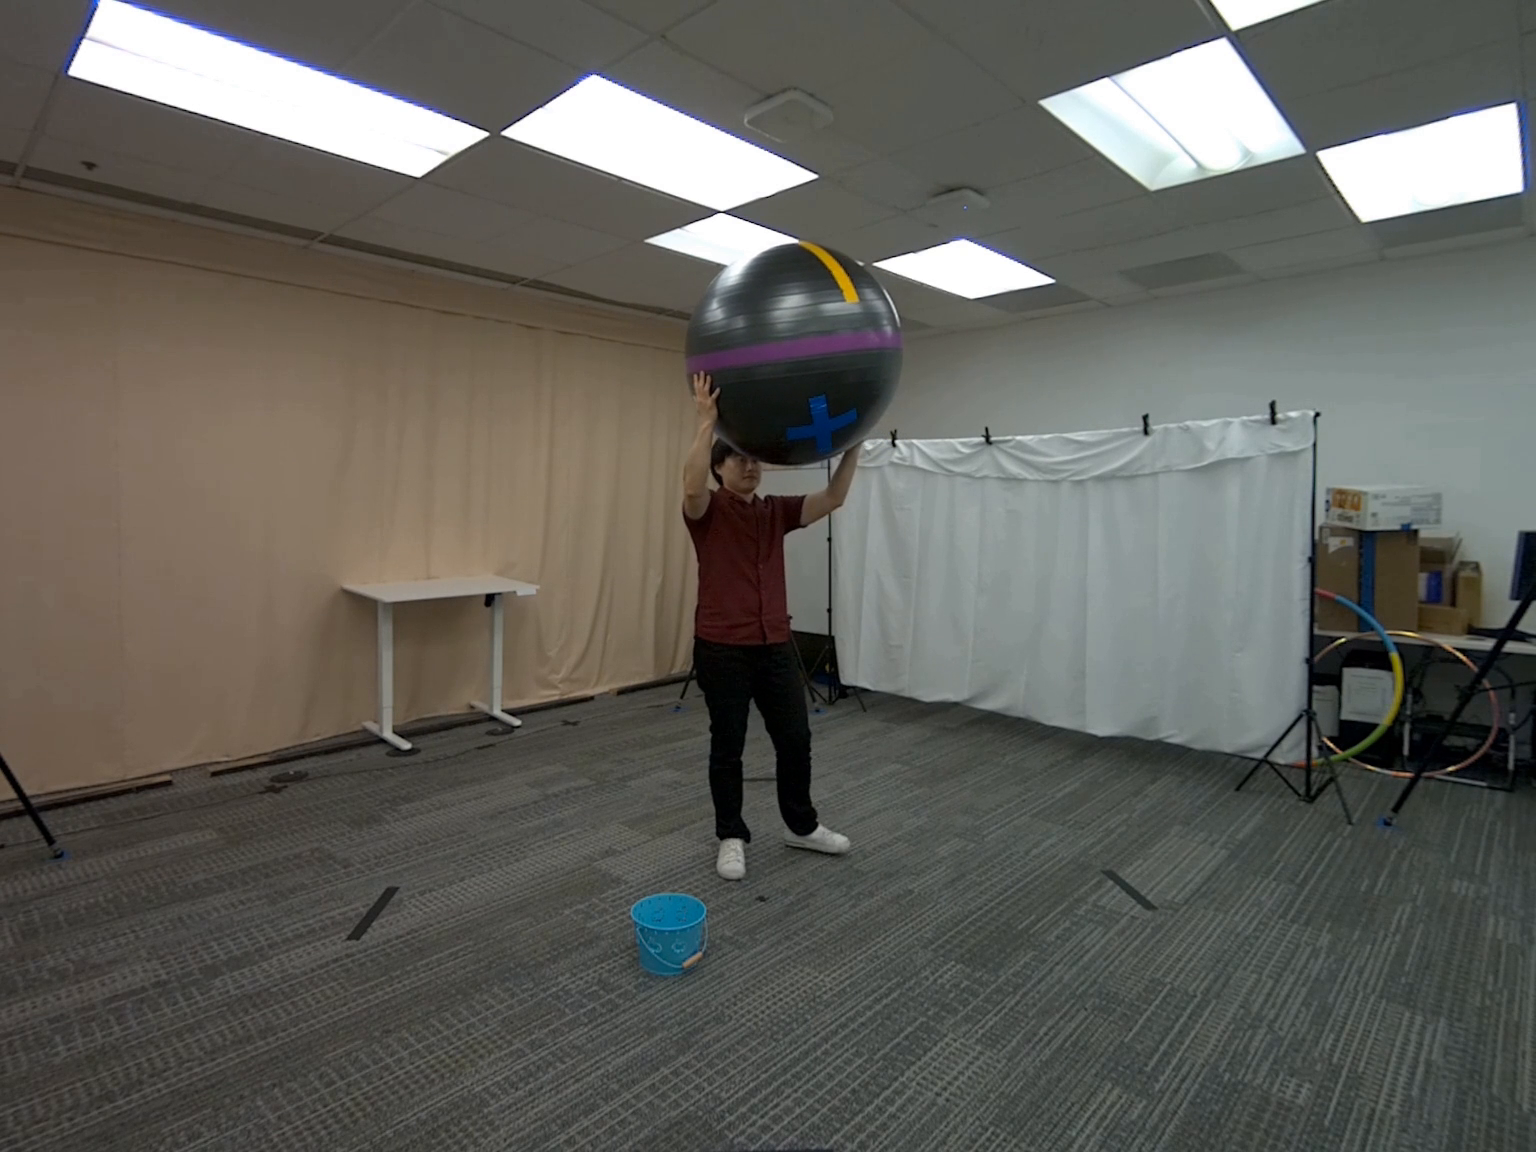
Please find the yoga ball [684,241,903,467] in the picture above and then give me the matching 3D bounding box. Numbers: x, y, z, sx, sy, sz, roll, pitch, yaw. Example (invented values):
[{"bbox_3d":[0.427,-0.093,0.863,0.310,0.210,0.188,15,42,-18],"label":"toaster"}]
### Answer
[{"bbox_3d":[0.093,-0.761,2.953,0.757,0.756,0.760,0,4,-2],"label":"yoga ball"}]
